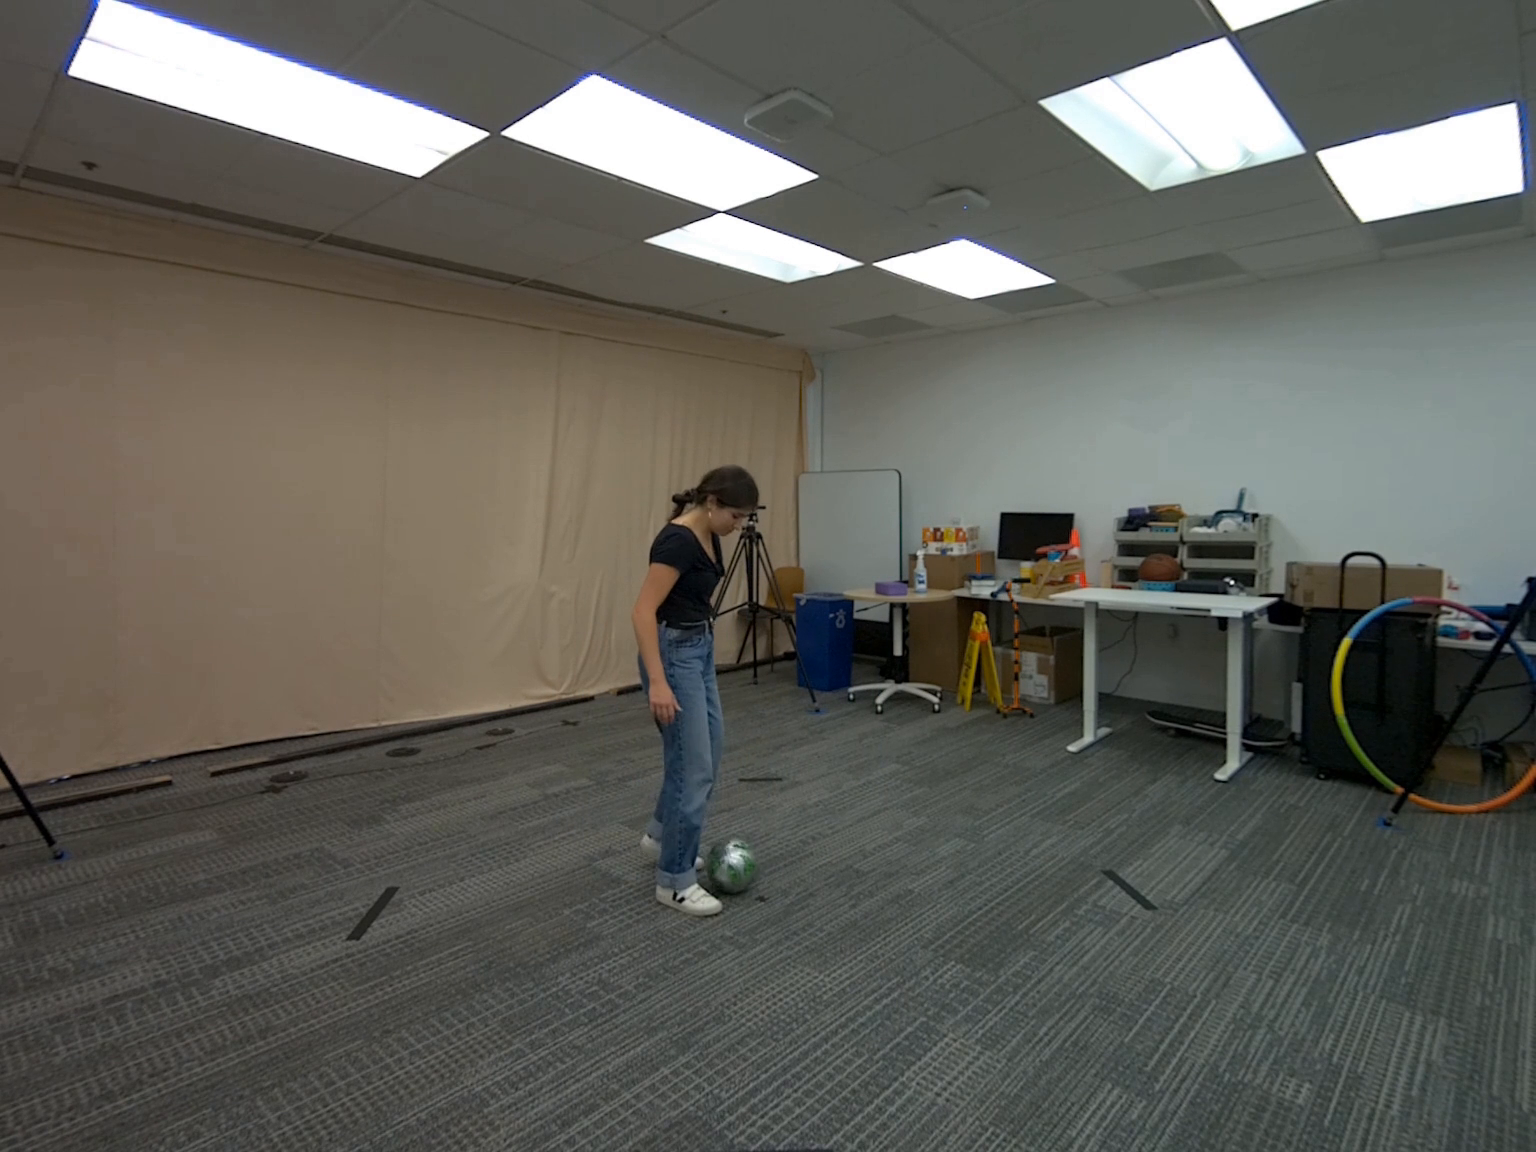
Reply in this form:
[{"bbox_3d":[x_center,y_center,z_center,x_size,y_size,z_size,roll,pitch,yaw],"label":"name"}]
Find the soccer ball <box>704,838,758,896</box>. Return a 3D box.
[{"bbox_3d":[-0.121,1.050,3.033,0.187,0.187,0.188,0,4,-2],"label":"soccer ball"}]
